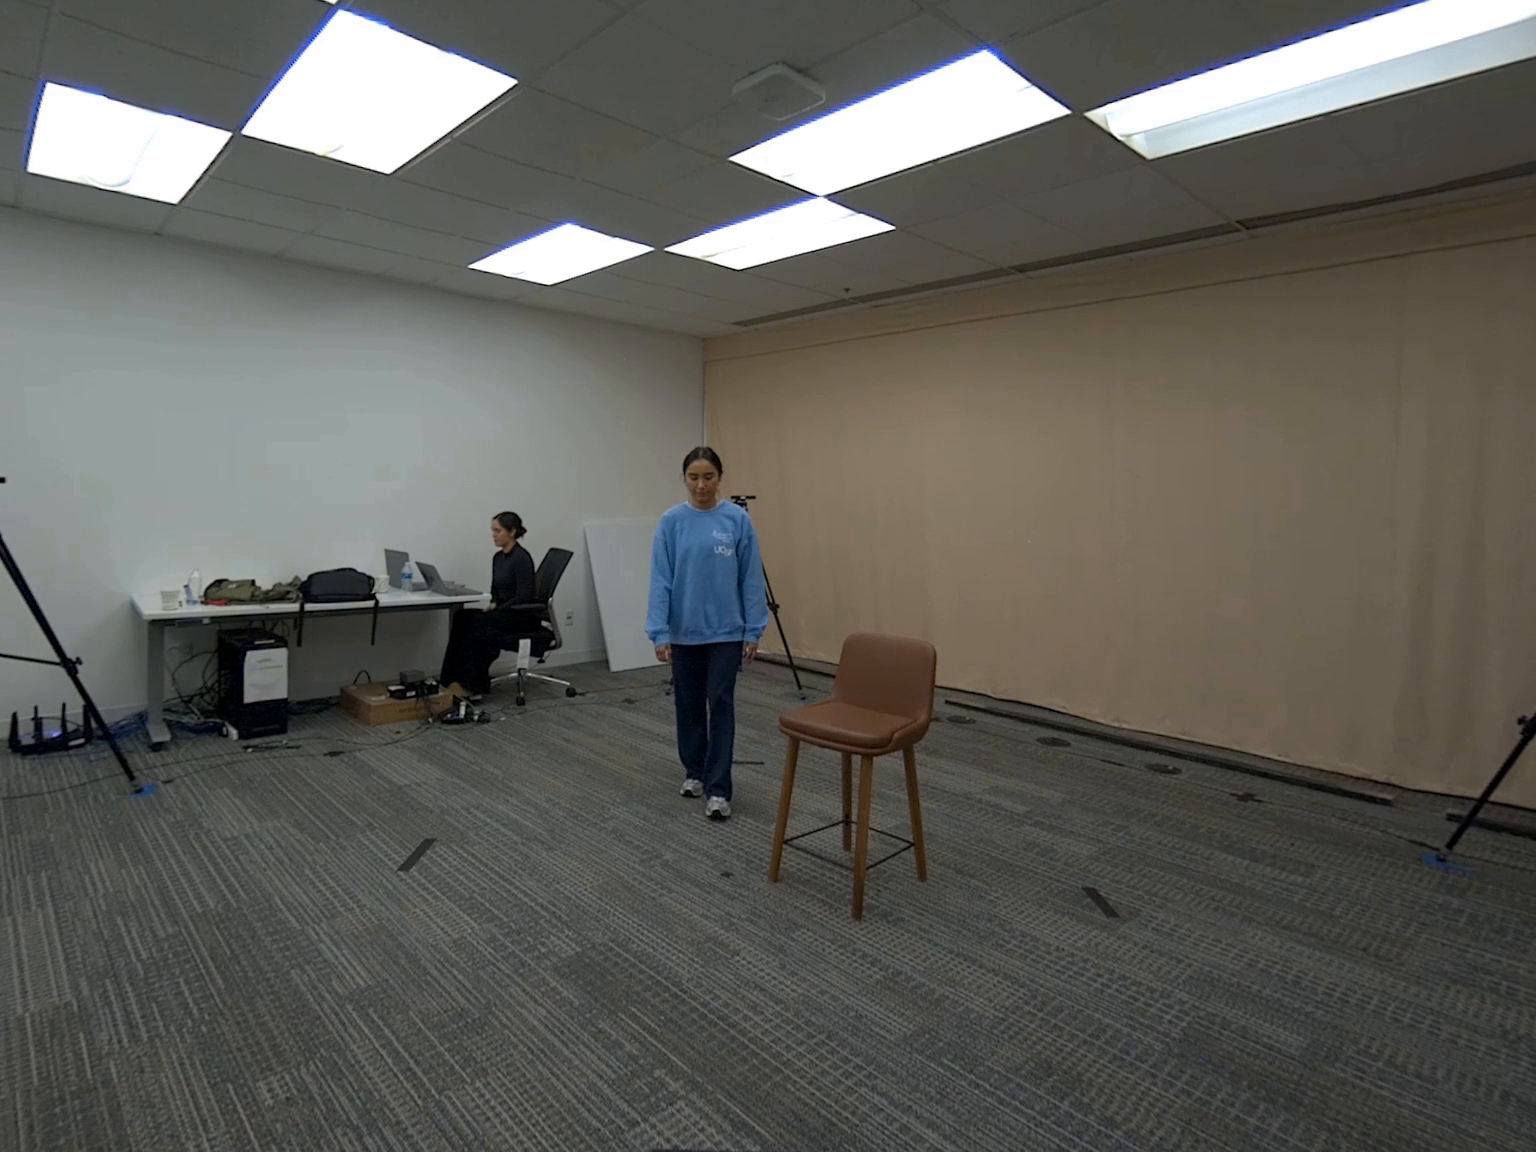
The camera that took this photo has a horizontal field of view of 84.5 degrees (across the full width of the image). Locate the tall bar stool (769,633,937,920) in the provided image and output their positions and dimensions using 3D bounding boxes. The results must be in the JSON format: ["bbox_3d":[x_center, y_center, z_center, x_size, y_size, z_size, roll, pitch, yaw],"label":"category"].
[{"bbox_3d":[0.315,0.680,3.056,0.468,0.889,0.456,5,2,44],"label":"tall bar stool"}]
